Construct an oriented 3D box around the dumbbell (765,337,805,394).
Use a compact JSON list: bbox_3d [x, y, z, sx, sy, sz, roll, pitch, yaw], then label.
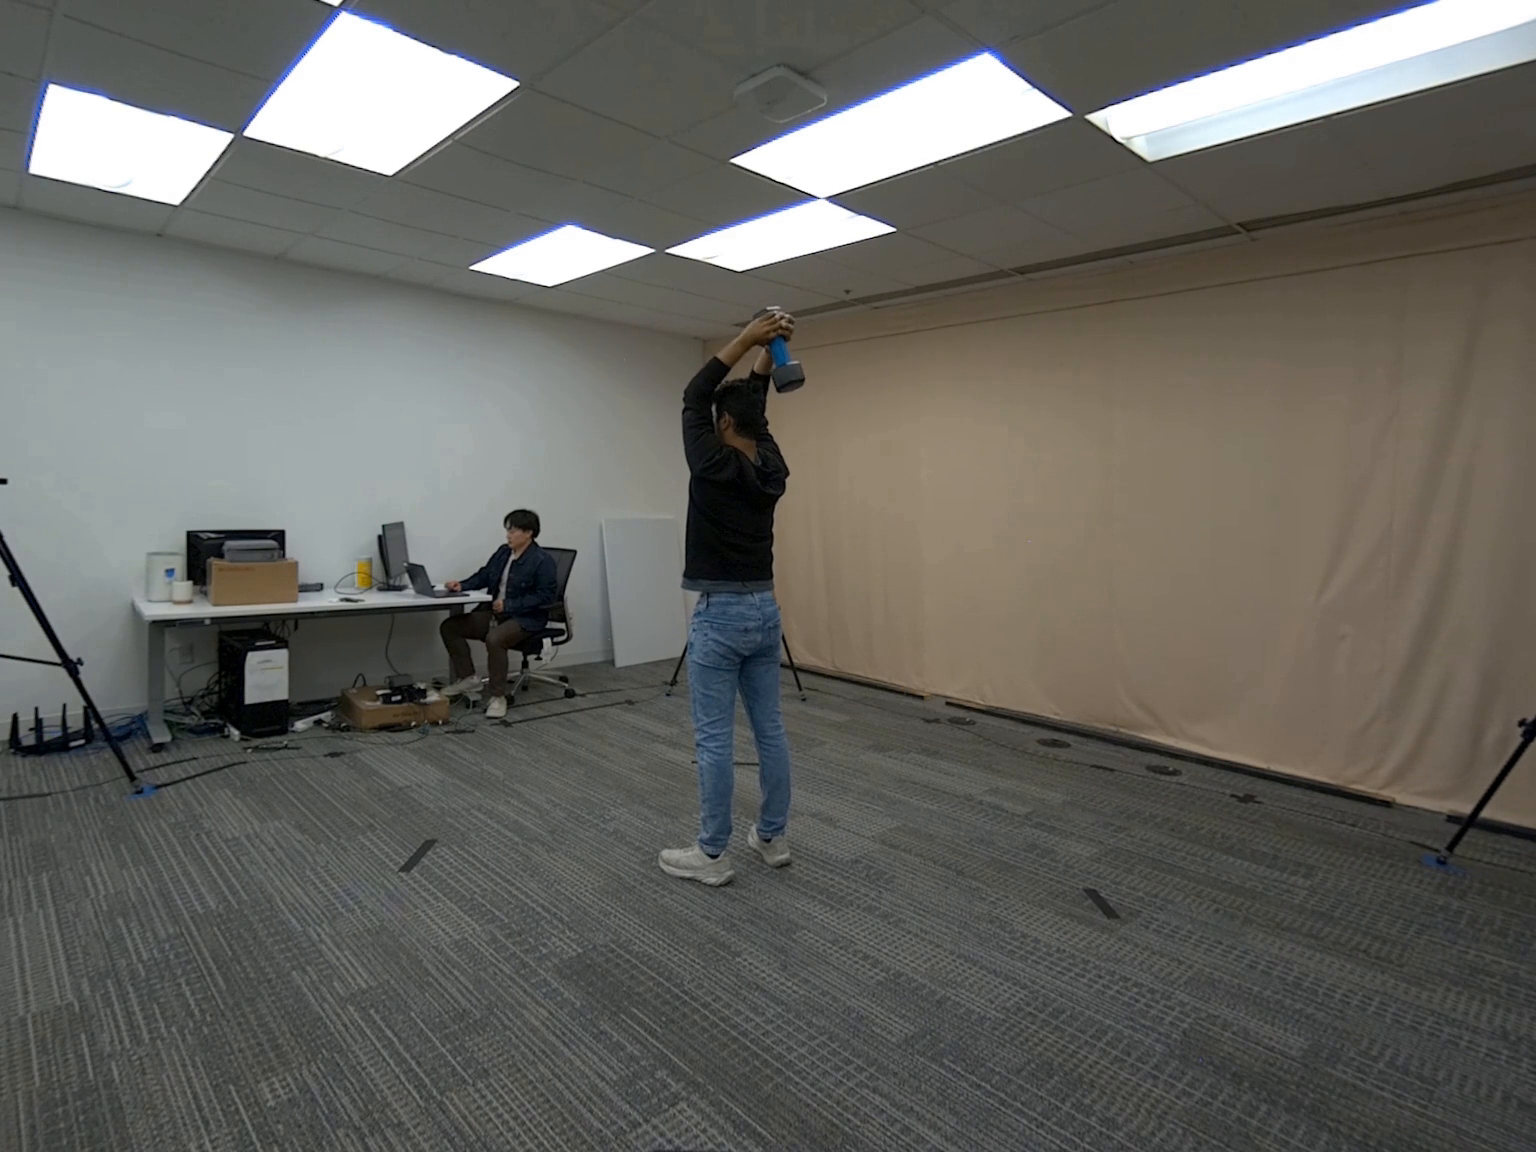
[{"bbox_3d":[0.029,-0.801,3.006,0.121,0.295,0.110,-16,-6,-29],"label":"dumbbell"}]
